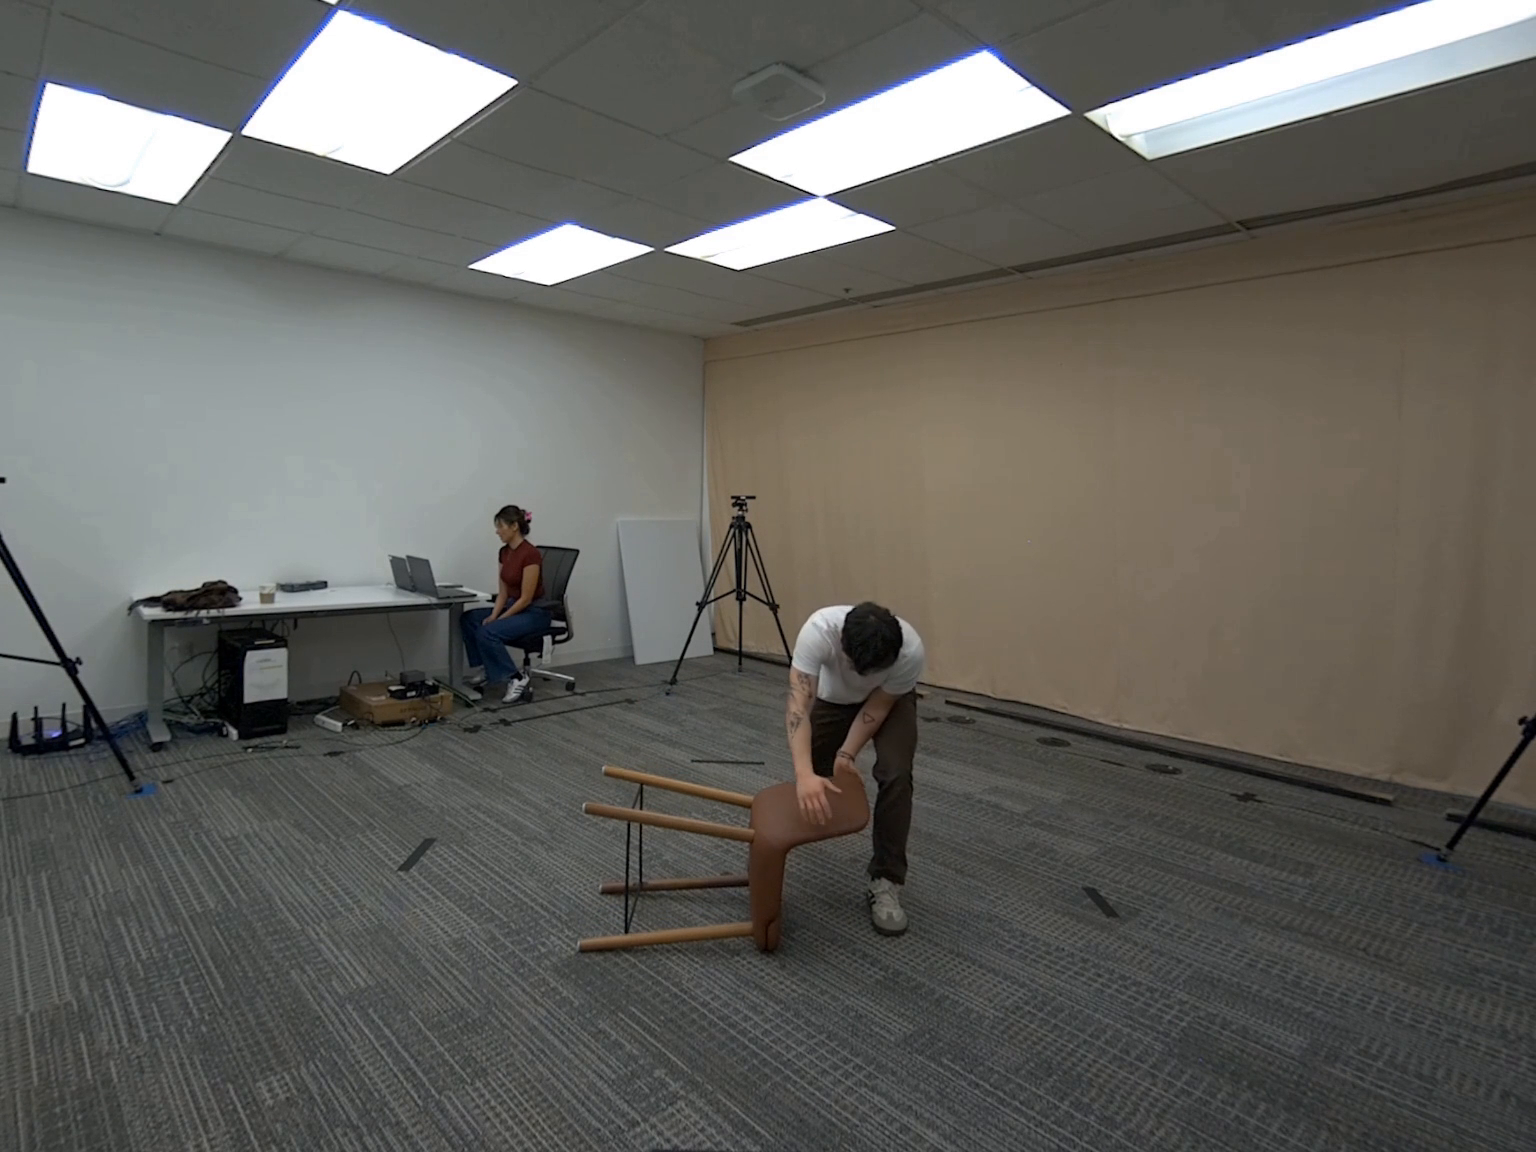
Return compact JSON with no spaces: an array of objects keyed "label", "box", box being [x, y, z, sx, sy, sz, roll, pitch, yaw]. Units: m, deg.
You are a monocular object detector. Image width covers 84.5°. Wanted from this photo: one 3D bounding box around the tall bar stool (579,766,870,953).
[{"label":"tall bar stool","box":[-0.145,0.910,2.726,0.890,0.466,0.457,0,4,1]}]
